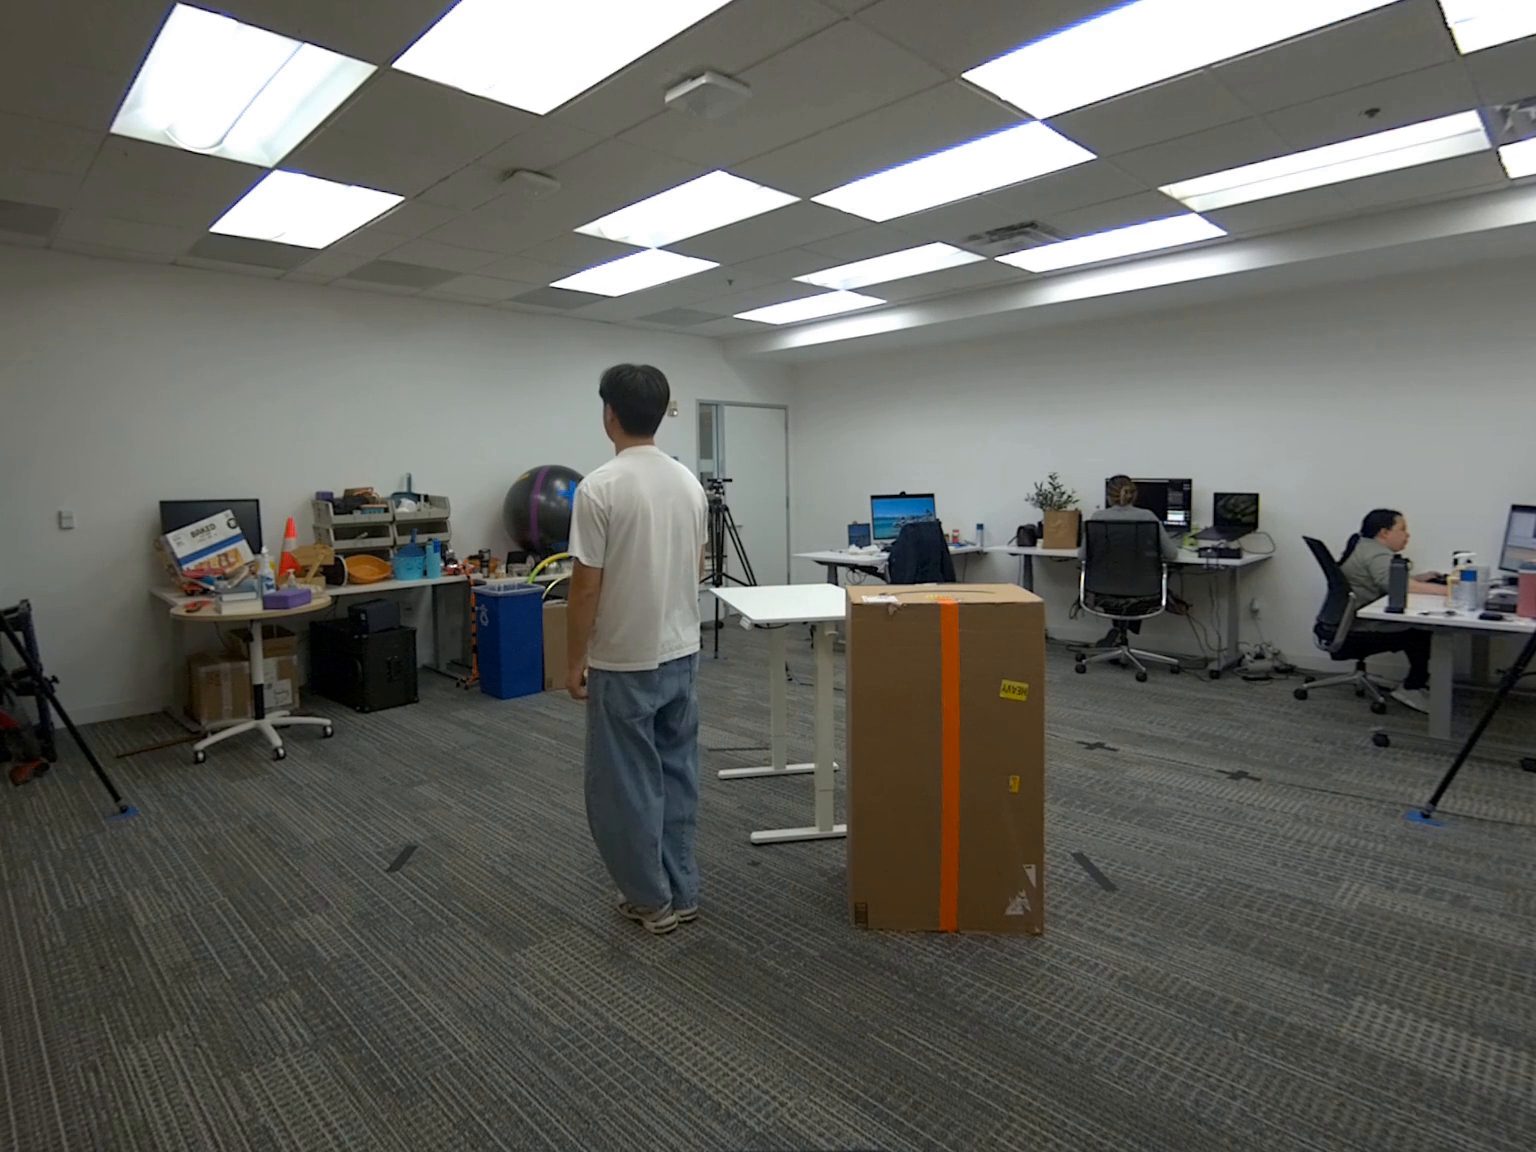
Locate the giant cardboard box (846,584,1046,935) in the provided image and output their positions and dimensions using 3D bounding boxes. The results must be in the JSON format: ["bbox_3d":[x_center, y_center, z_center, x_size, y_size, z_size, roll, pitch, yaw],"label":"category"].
[{"bbox_3d":[0.558,0.563,2.787,0.581,1.022,0.425,0,4,5],"label":"giant cardboard box"}]
